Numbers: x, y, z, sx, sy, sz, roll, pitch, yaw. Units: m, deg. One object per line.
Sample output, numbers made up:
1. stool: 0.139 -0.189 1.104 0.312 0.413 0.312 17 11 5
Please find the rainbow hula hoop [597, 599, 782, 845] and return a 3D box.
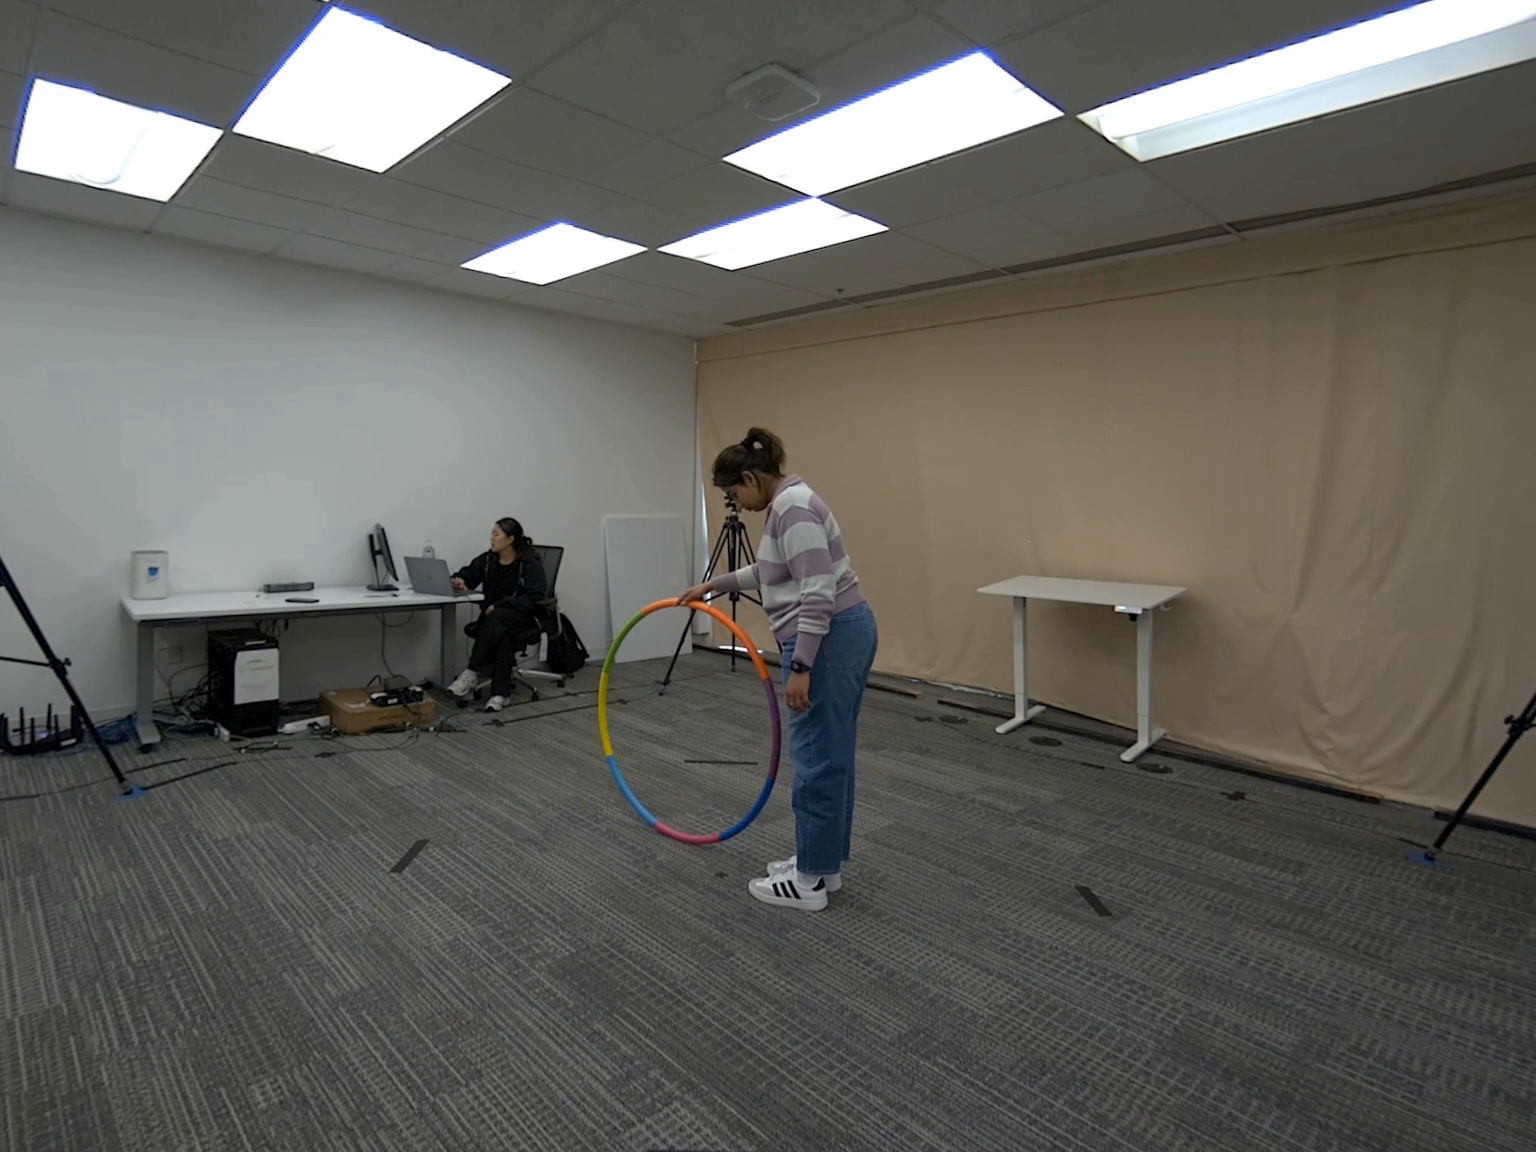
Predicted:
1. rainbow hula hoop: -0.357 0.586 3.400 1.003 0.977 0.035 5 3 39
